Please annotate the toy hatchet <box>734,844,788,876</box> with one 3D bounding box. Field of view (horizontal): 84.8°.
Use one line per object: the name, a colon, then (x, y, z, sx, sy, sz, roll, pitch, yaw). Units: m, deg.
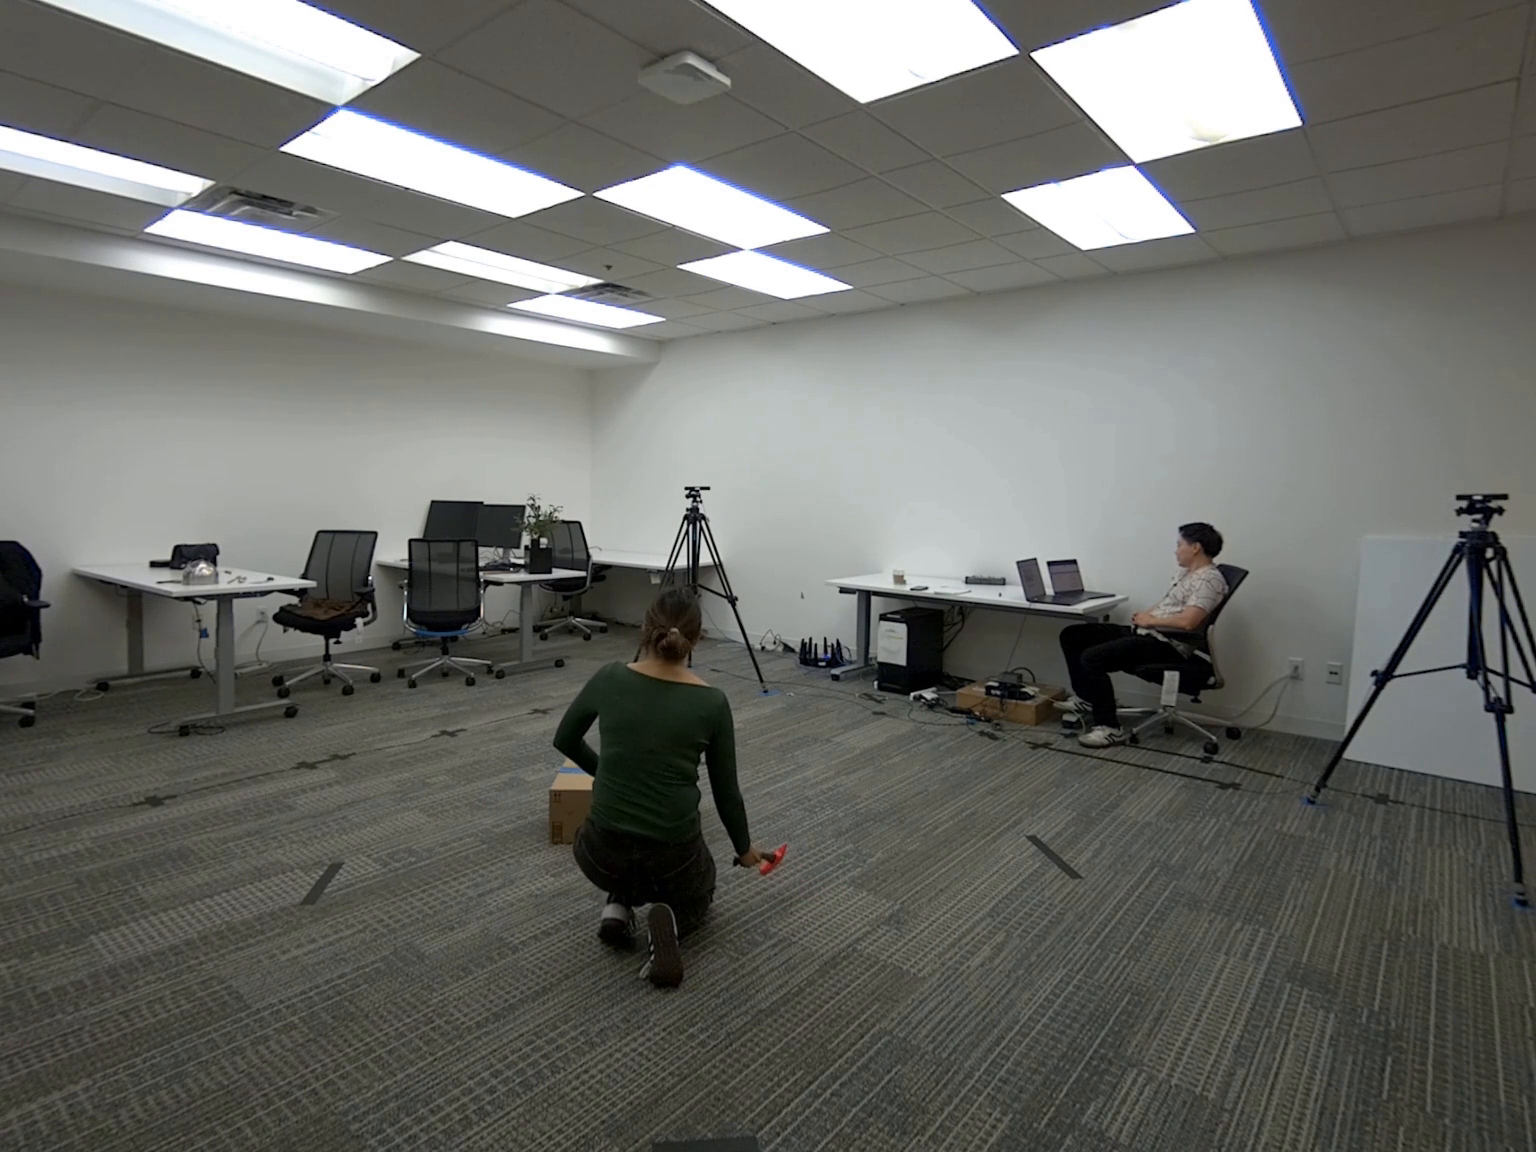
toy hatchet: (-0.049, 0.975, 2.860, 0.261, 0.130, 0.031, 6, 25, -47)
